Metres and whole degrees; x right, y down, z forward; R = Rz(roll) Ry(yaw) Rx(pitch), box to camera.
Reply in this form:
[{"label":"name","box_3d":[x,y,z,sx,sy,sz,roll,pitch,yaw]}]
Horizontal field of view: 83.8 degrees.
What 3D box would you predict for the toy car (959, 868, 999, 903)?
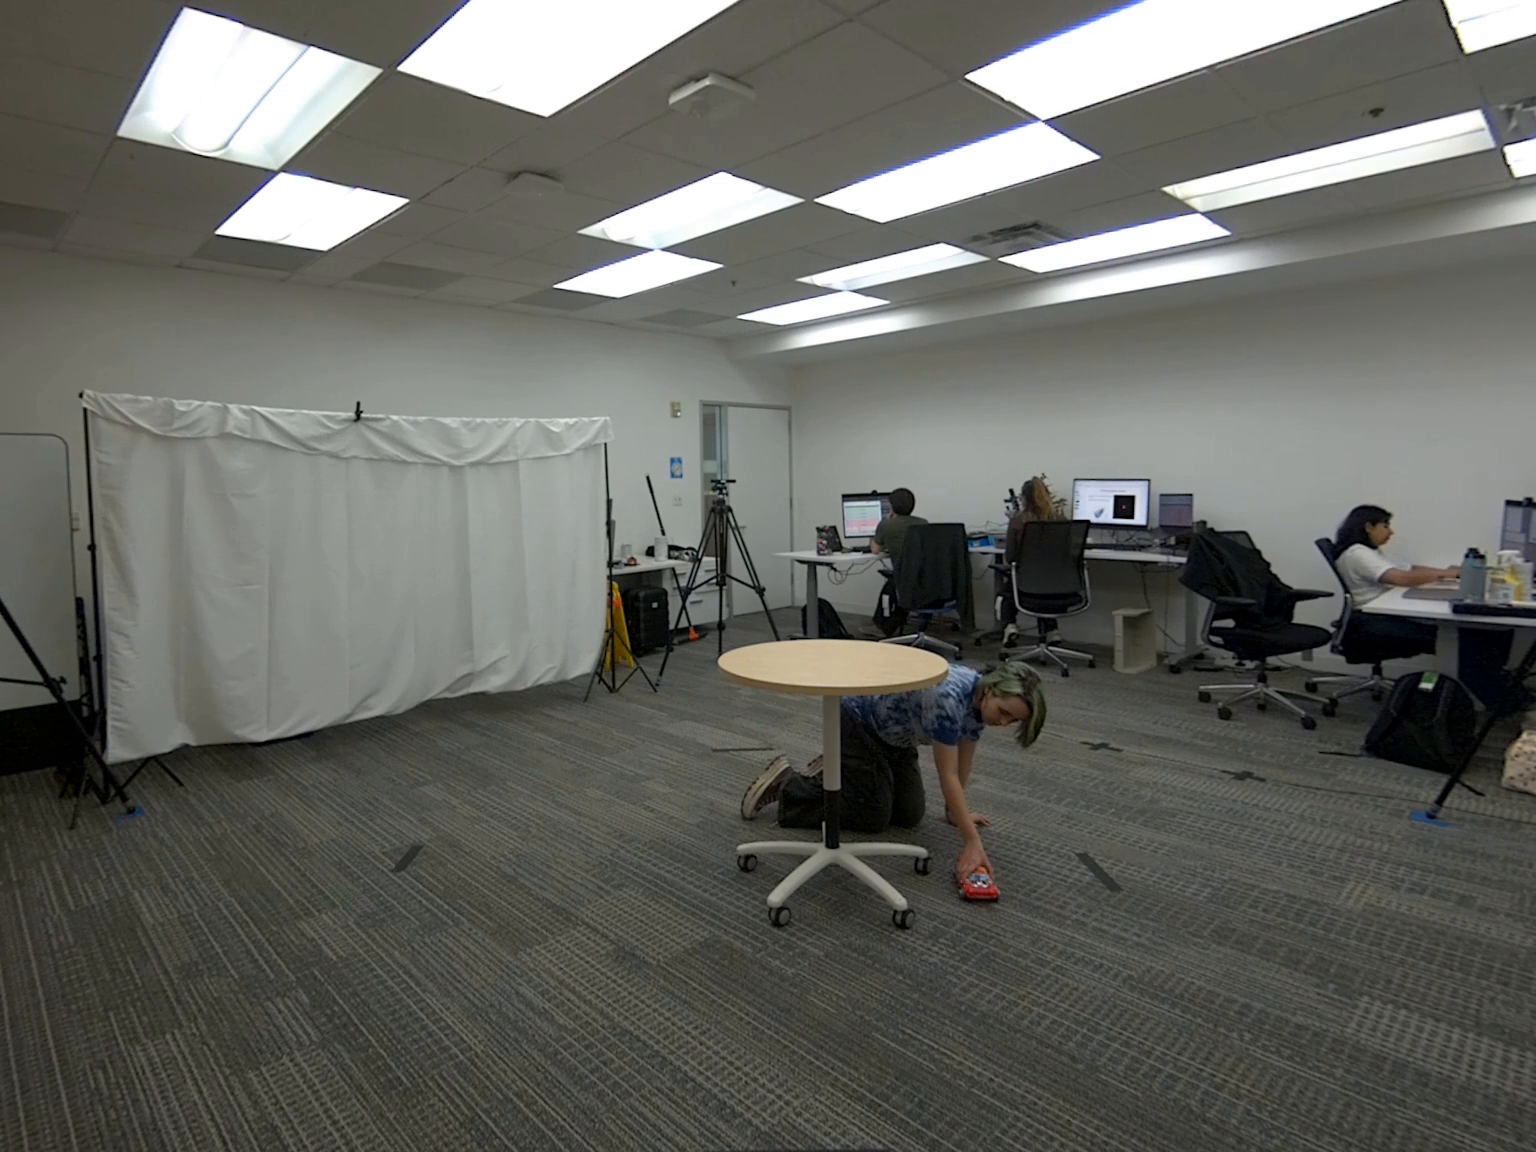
[{"label":"toy car","box_3d":[0.711,1.031,2.904,0.131,0.082,0.257,-1,17,5]}]
